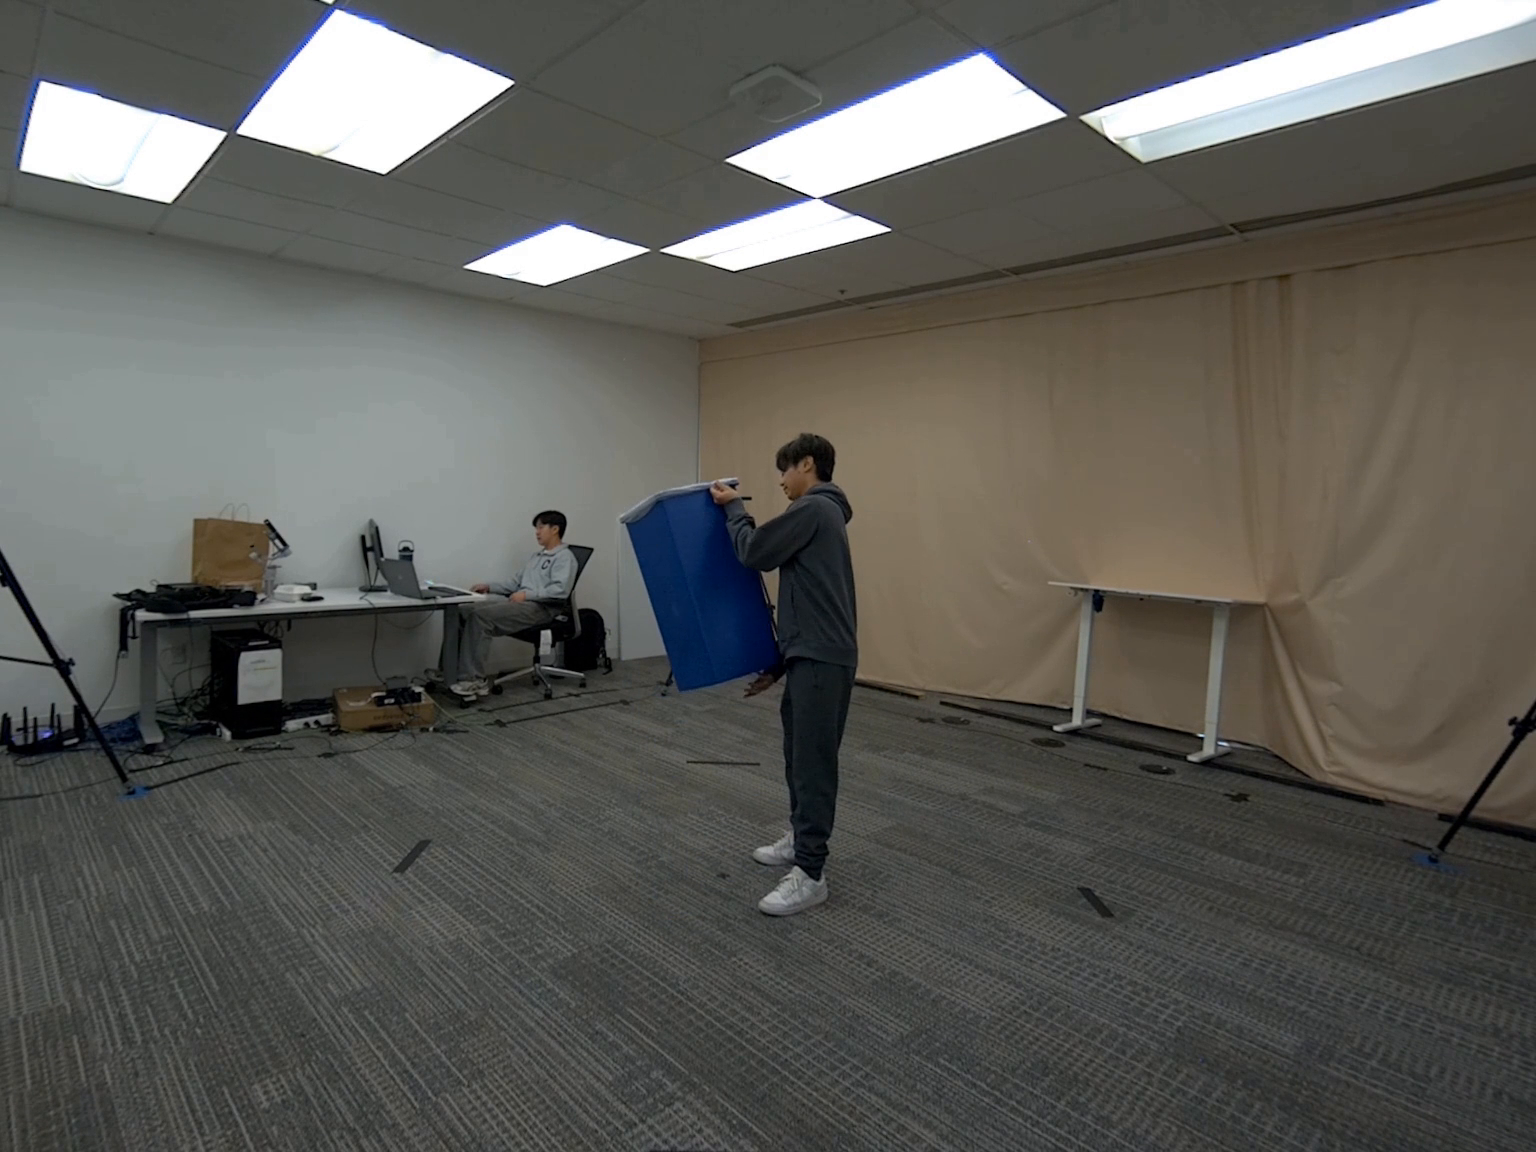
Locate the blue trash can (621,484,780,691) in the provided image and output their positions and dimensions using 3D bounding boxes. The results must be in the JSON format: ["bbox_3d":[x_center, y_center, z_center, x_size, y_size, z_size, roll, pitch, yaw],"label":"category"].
[{"bbox_3d":[-0.254,0.040,3.190,0.367,0.718,0.382,-12,-8,-35],"label":"blue trash can"}]
